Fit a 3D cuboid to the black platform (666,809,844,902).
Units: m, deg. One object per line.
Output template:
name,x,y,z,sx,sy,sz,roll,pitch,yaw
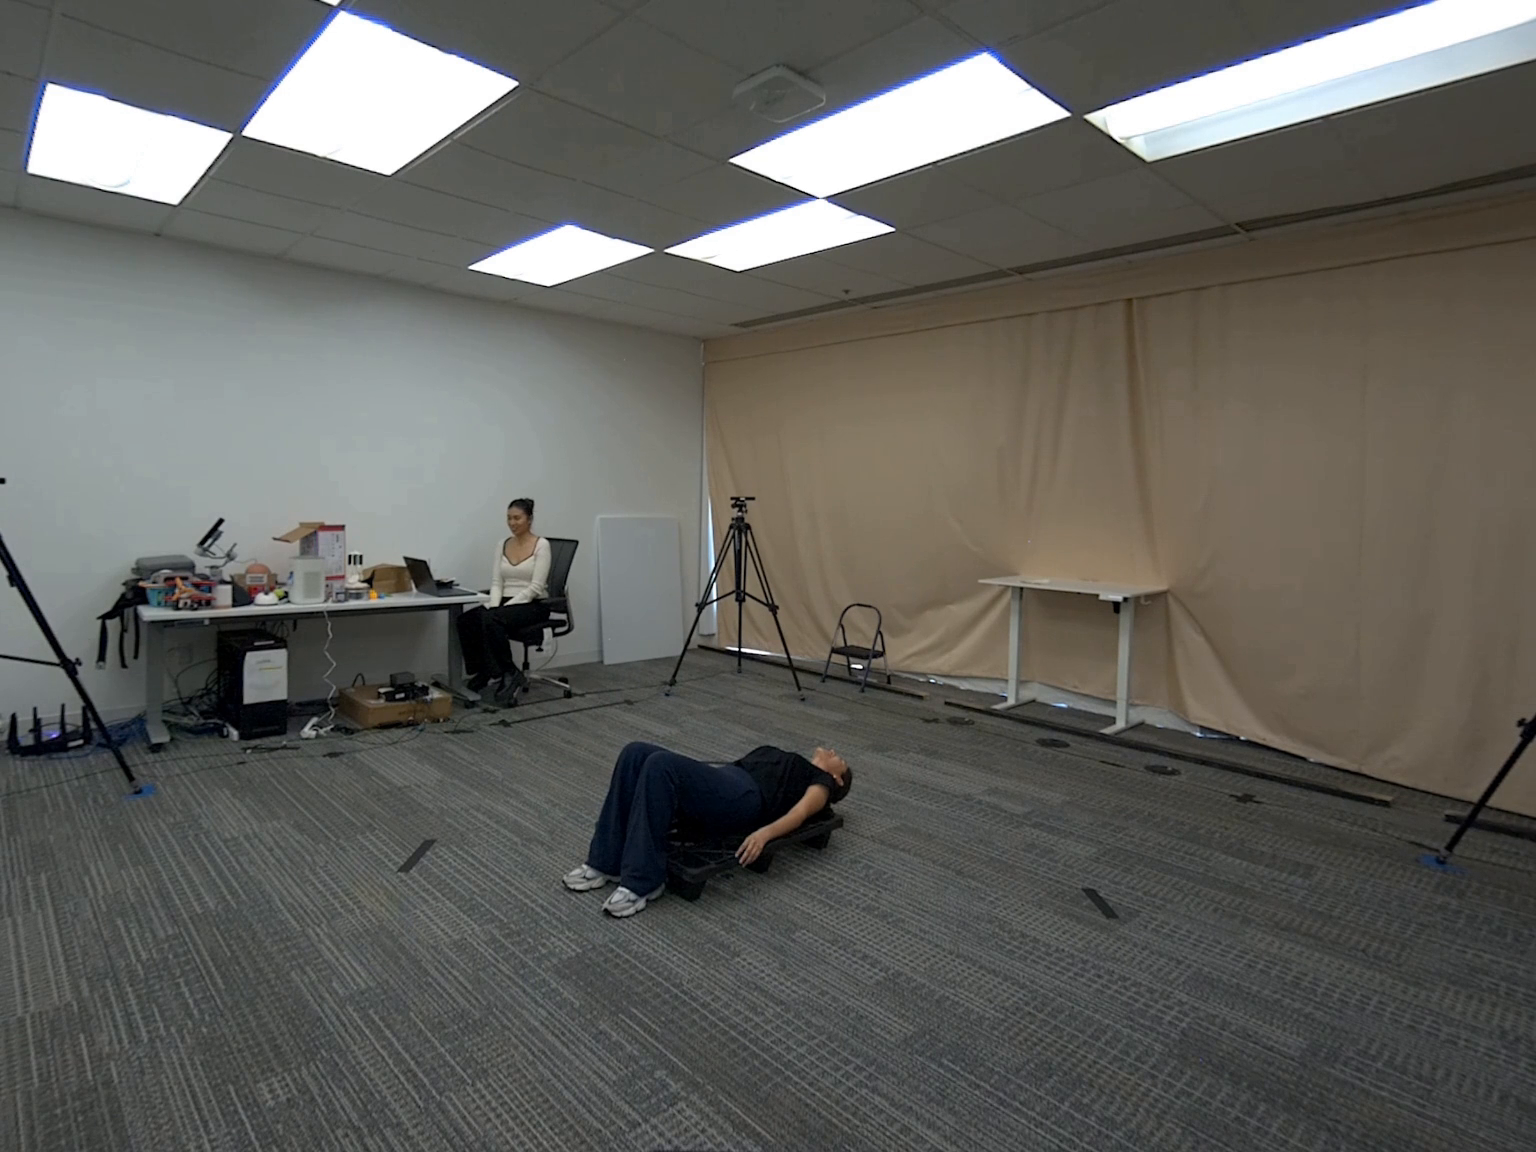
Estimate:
black platform,-0.189,1.023,3.303,0.620,0.143,0.787,6,7,44
